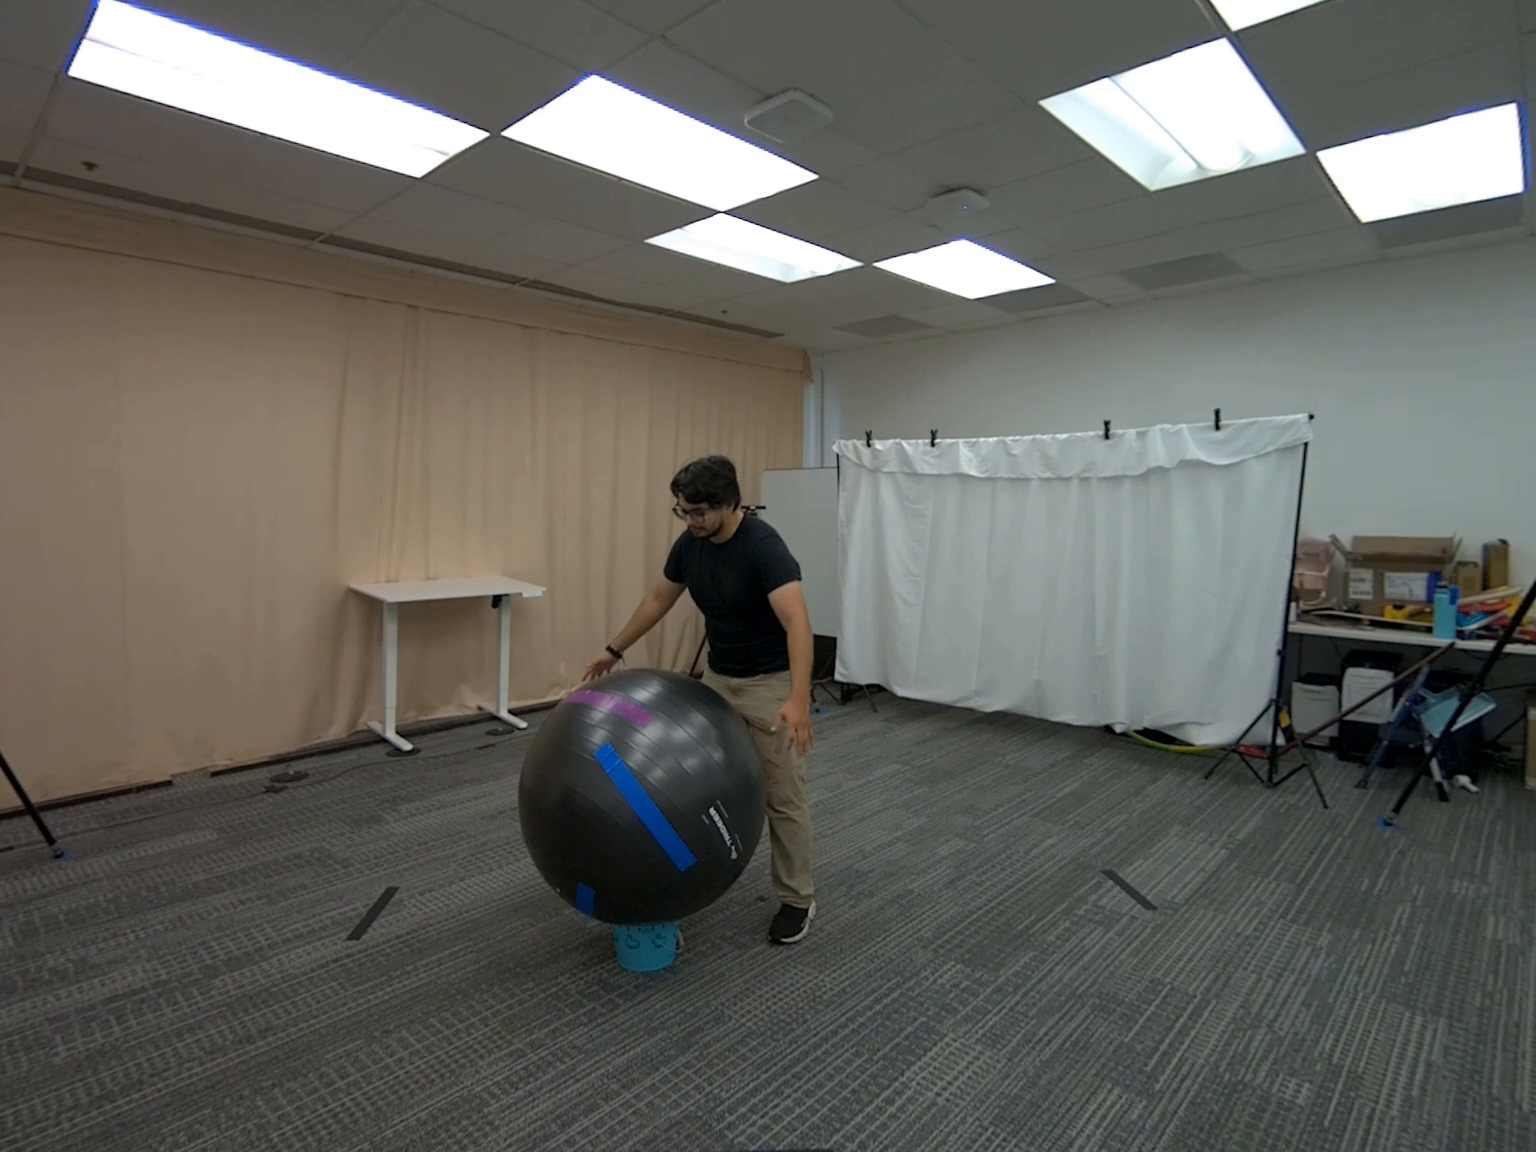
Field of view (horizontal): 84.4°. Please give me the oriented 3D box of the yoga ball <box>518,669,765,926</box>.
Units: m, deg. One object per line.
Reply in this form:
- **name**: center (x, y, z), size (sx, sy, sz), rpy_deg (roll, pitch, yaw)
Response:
- **yoga ball**: center (-0.389, 0.677, 2.592), size (0.757, 0.756, 0.760), rpy_deg (0, 4, -2)
